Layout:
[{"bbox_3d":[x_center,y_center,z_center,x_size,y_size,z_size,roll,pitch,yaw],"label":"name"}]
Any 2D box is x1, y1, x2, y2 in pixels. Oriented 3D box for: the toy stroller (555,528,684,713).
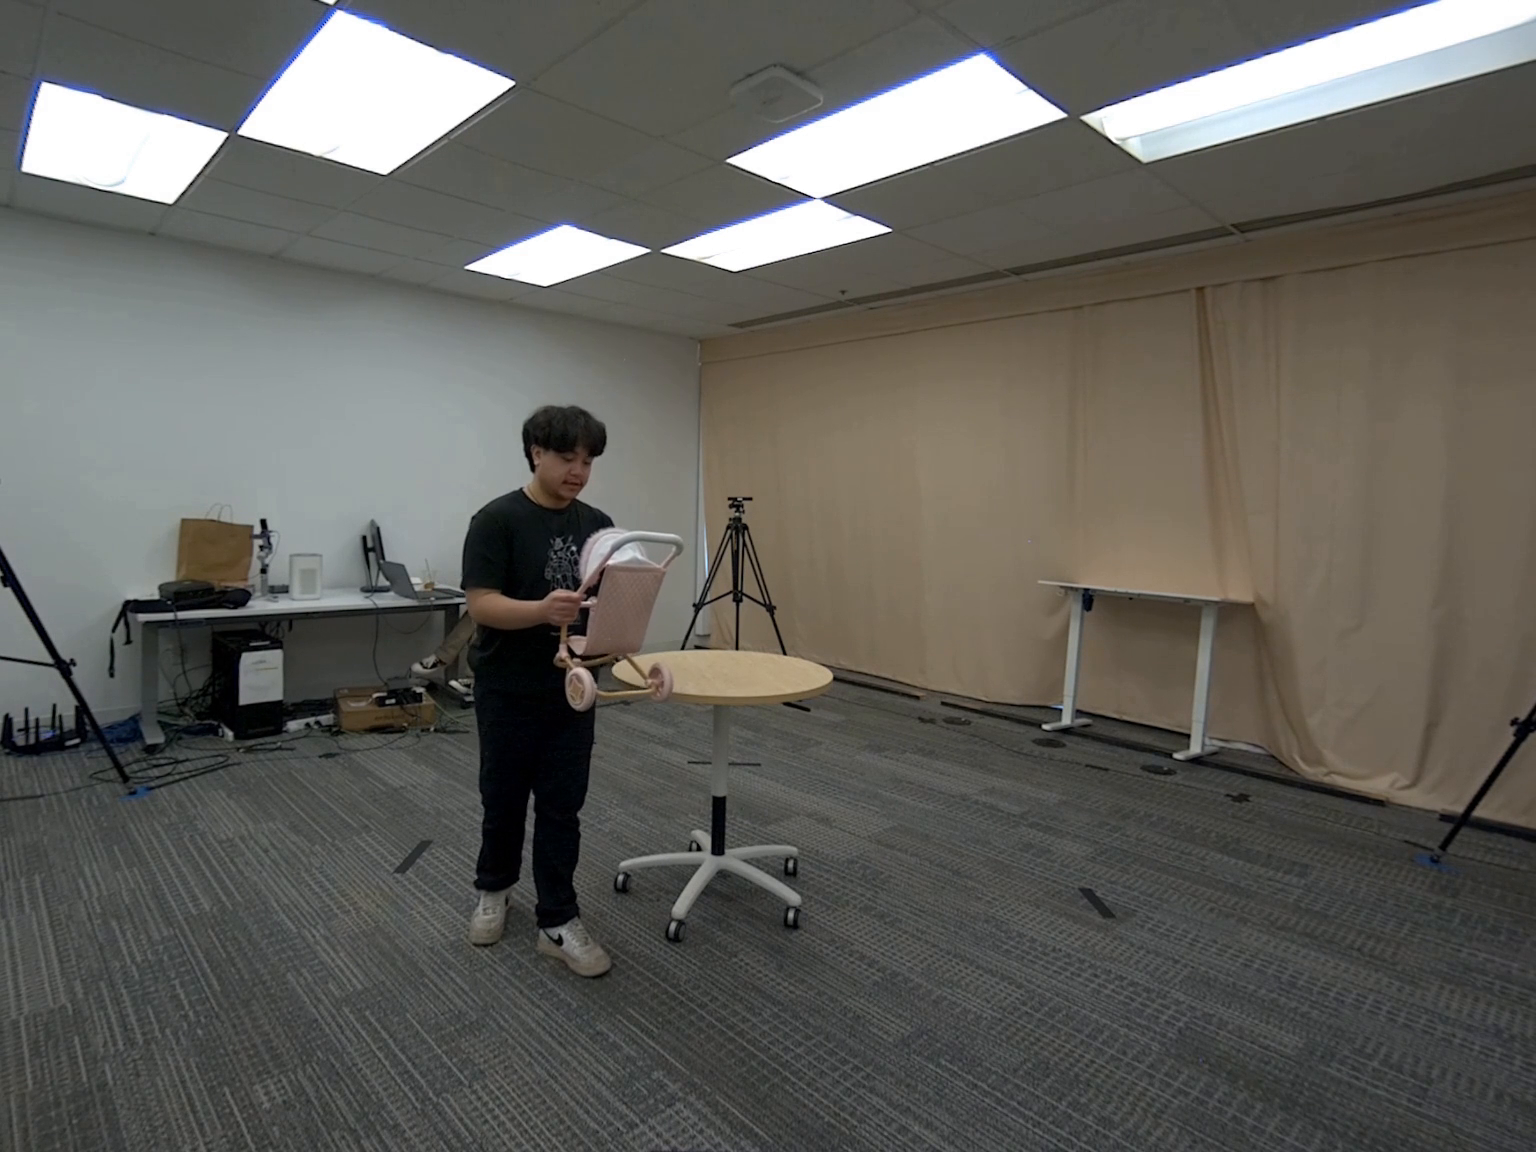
[{"bbox_3d":[-0.430,0.114,2.266,0.275,0.532,0.351,3,12,-37],"label":"toy stroller"}]
